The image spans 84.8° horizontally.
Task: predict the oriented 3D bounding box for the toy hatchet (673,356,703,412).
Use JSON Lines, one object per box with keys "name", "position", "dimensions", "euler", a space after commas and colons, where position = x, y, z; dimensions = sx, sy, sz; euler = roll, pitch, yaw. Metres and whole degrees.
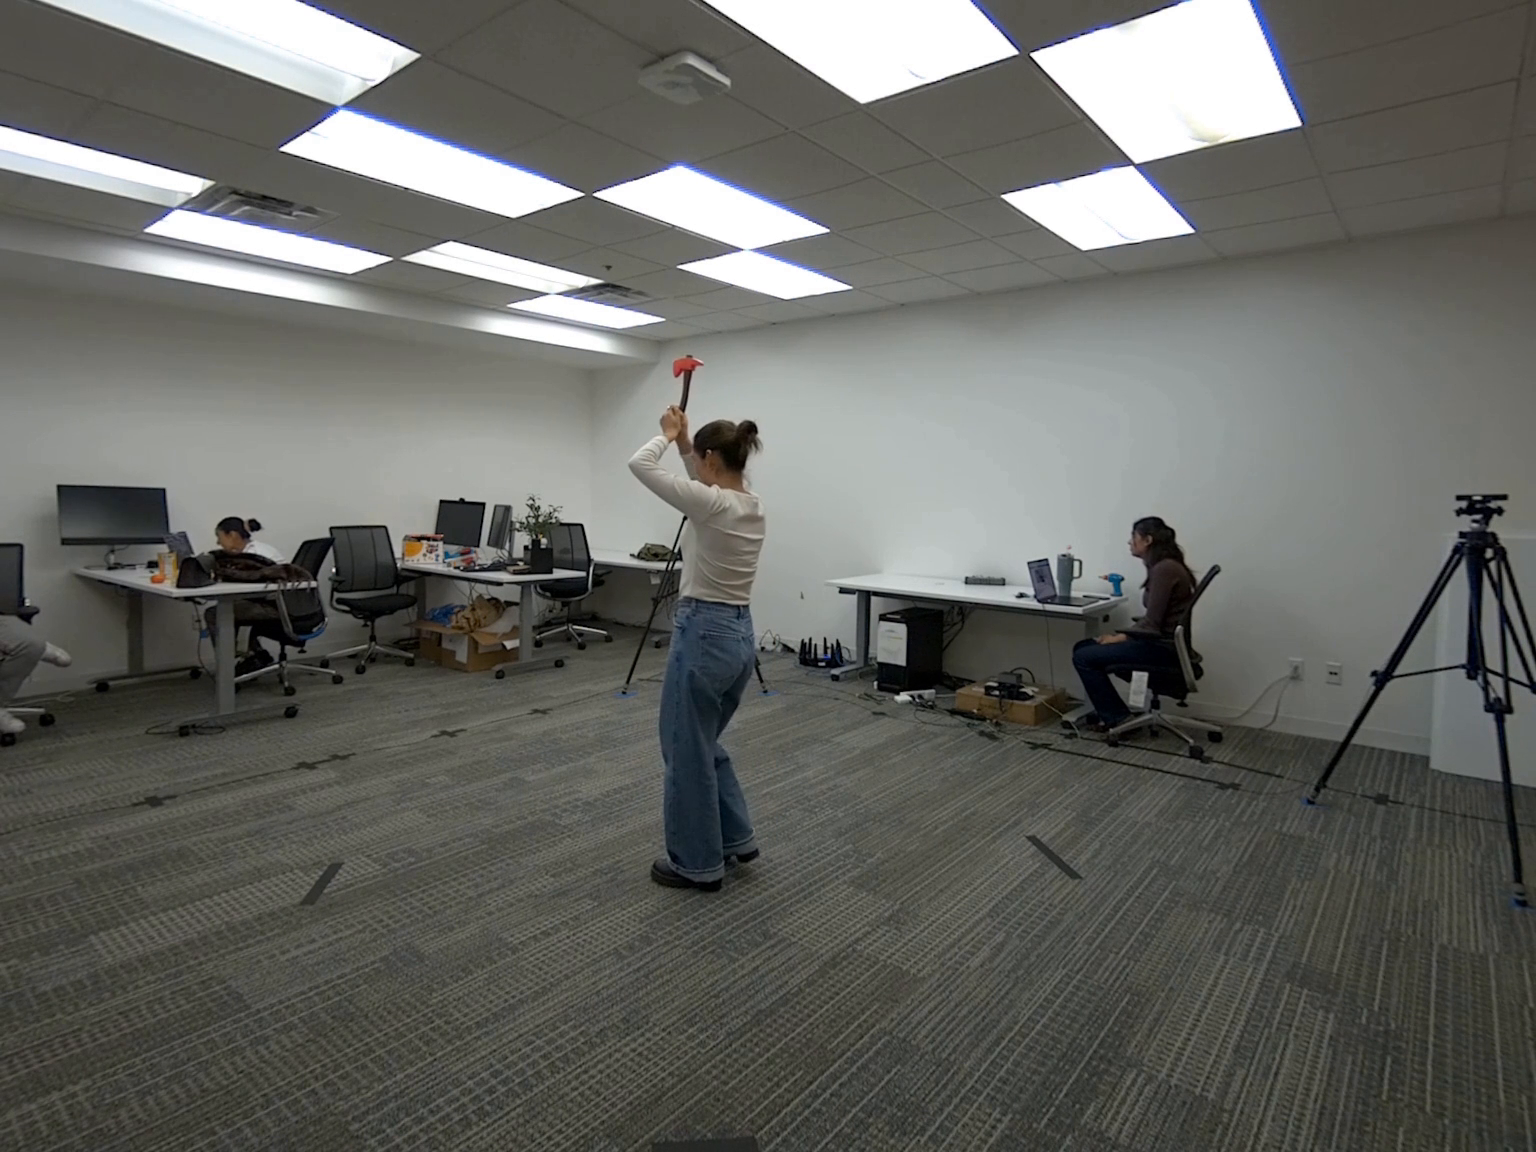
{"name": "toy hatchet", "position": [-0.328, -0.659, 3.007], "dimensions": [0.135, 0.268, 0.029], "euler": [32, 17, 27]}
